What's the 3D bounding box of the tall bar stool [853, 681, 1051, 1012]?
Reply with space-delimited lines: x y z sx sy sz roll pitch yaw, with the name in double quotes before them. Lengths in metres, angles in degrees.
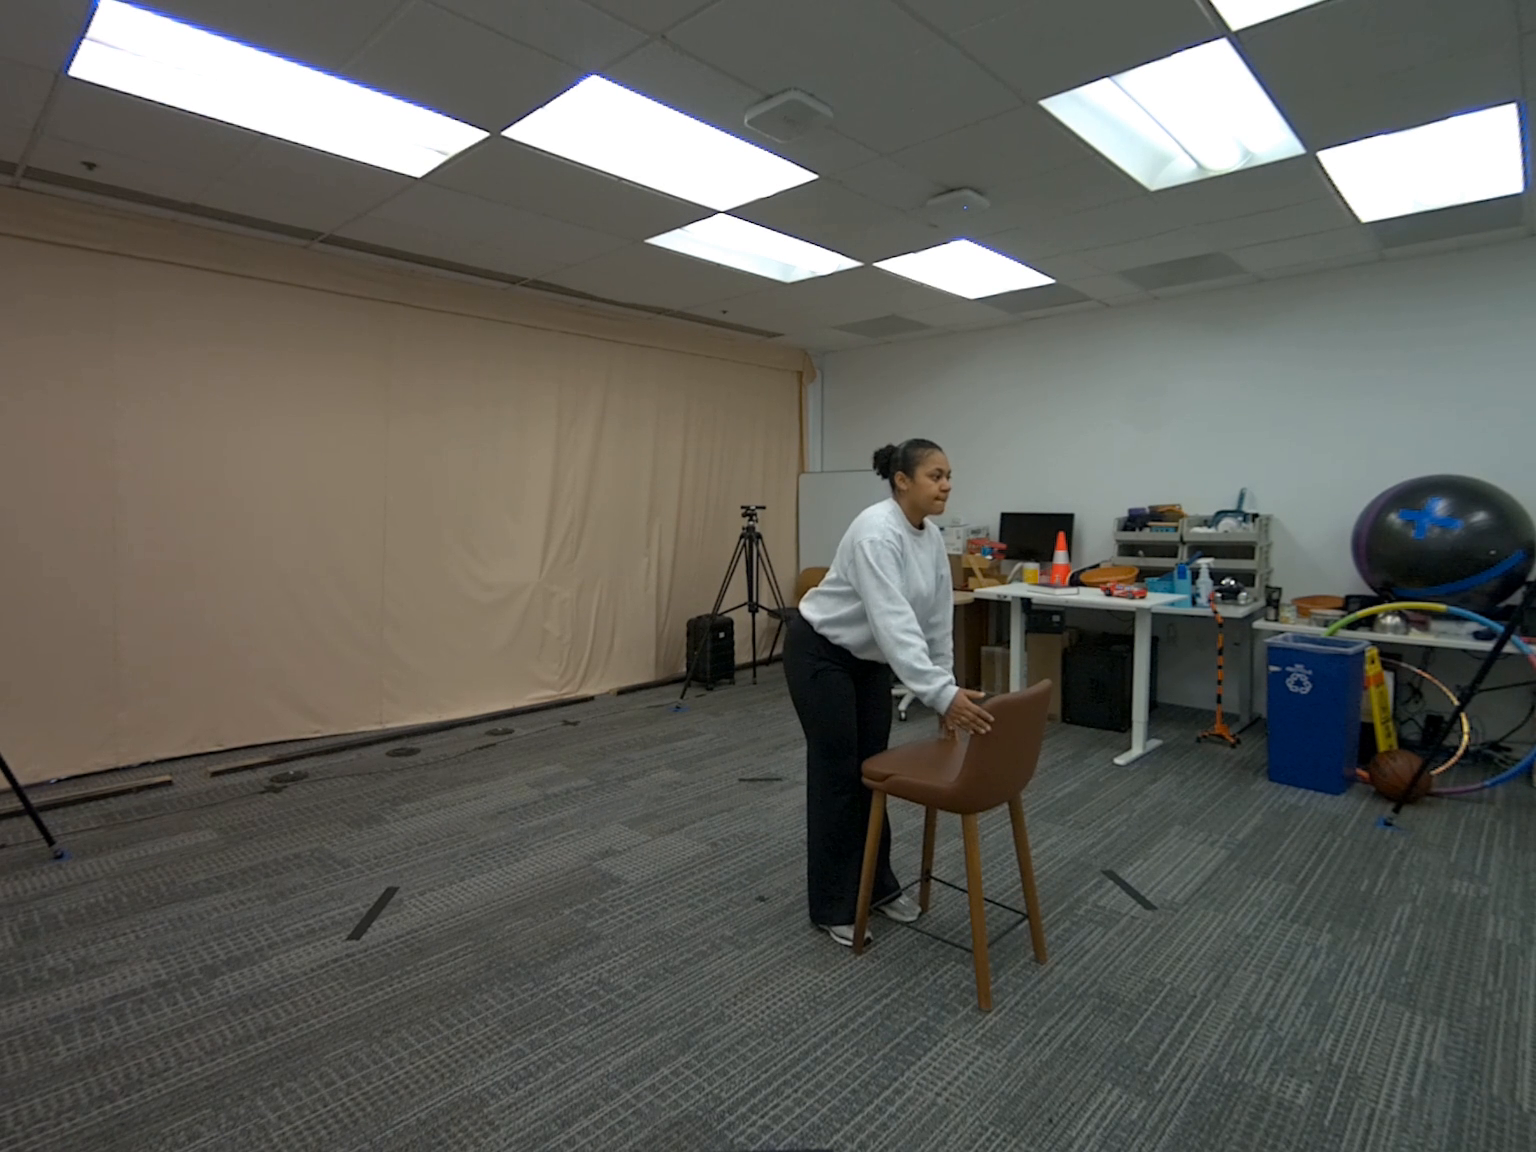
"tall bar stool" 0.574 0.738 2.569 0.484 0.887 0.442 6 7 44
